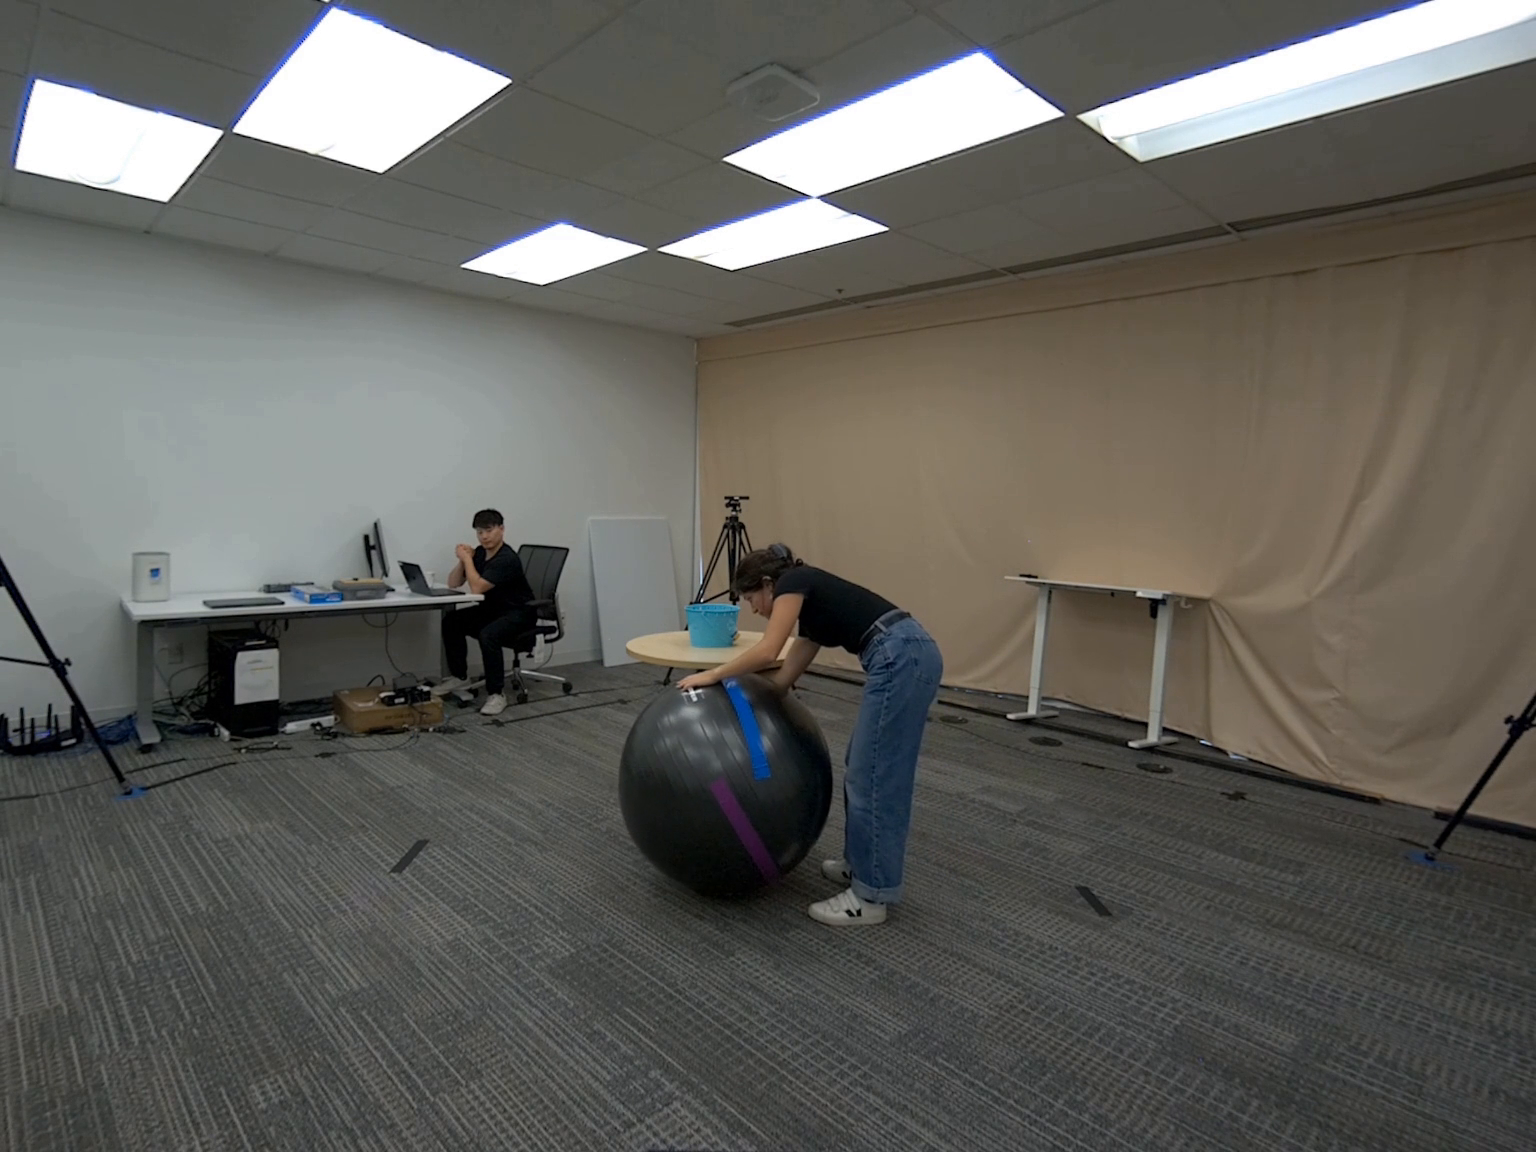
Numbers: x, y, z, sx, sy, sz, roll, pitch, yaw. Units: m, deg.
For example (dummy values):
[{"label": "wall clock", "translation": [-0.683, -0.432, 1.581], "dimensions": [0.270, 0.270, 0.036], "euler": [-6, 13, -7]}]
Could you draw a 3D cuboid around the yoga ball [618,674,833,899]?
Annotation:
[{"label": "yoga ball", "translation": [-0.166, 0.723, 2.982], "dimensions": [0.757, 0.756, 0.761], "euler": [1, 4, -1]}]
